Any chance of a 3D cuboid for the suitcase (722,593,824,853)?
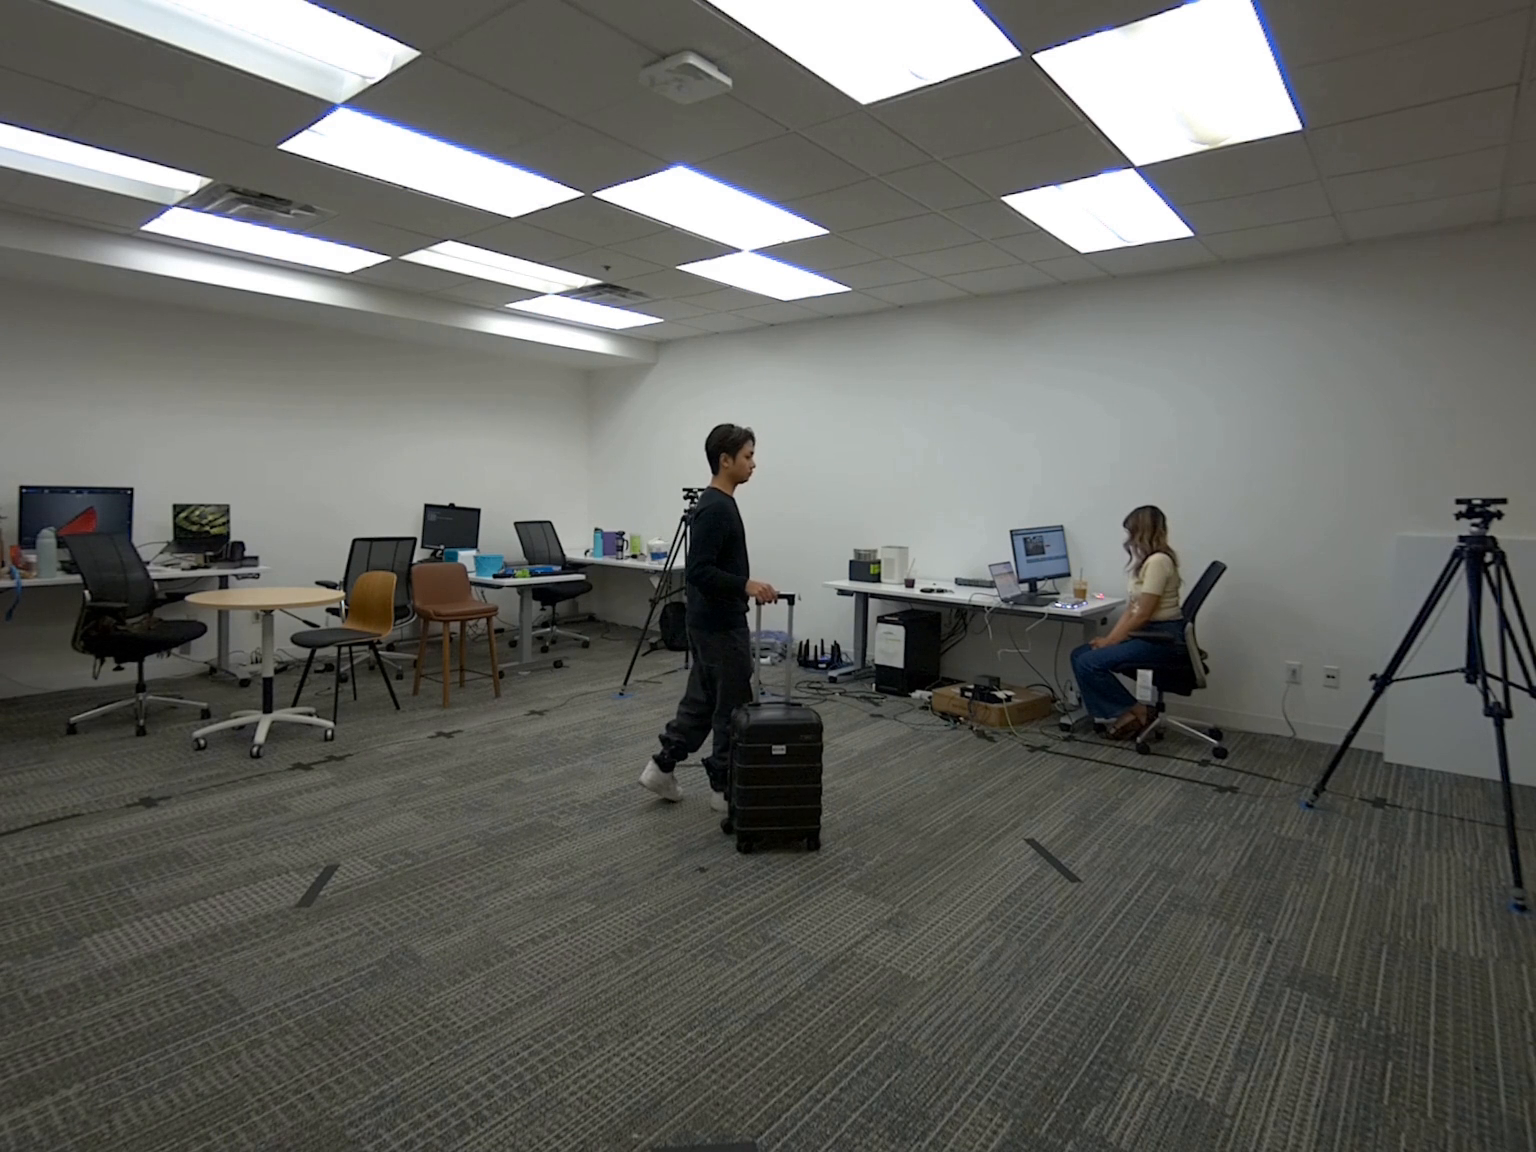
[{"bbox_3d":[0.029,0.573,3.334,0.381,0.973,0.261,1,6,-8],"label":"suitcase"}]
